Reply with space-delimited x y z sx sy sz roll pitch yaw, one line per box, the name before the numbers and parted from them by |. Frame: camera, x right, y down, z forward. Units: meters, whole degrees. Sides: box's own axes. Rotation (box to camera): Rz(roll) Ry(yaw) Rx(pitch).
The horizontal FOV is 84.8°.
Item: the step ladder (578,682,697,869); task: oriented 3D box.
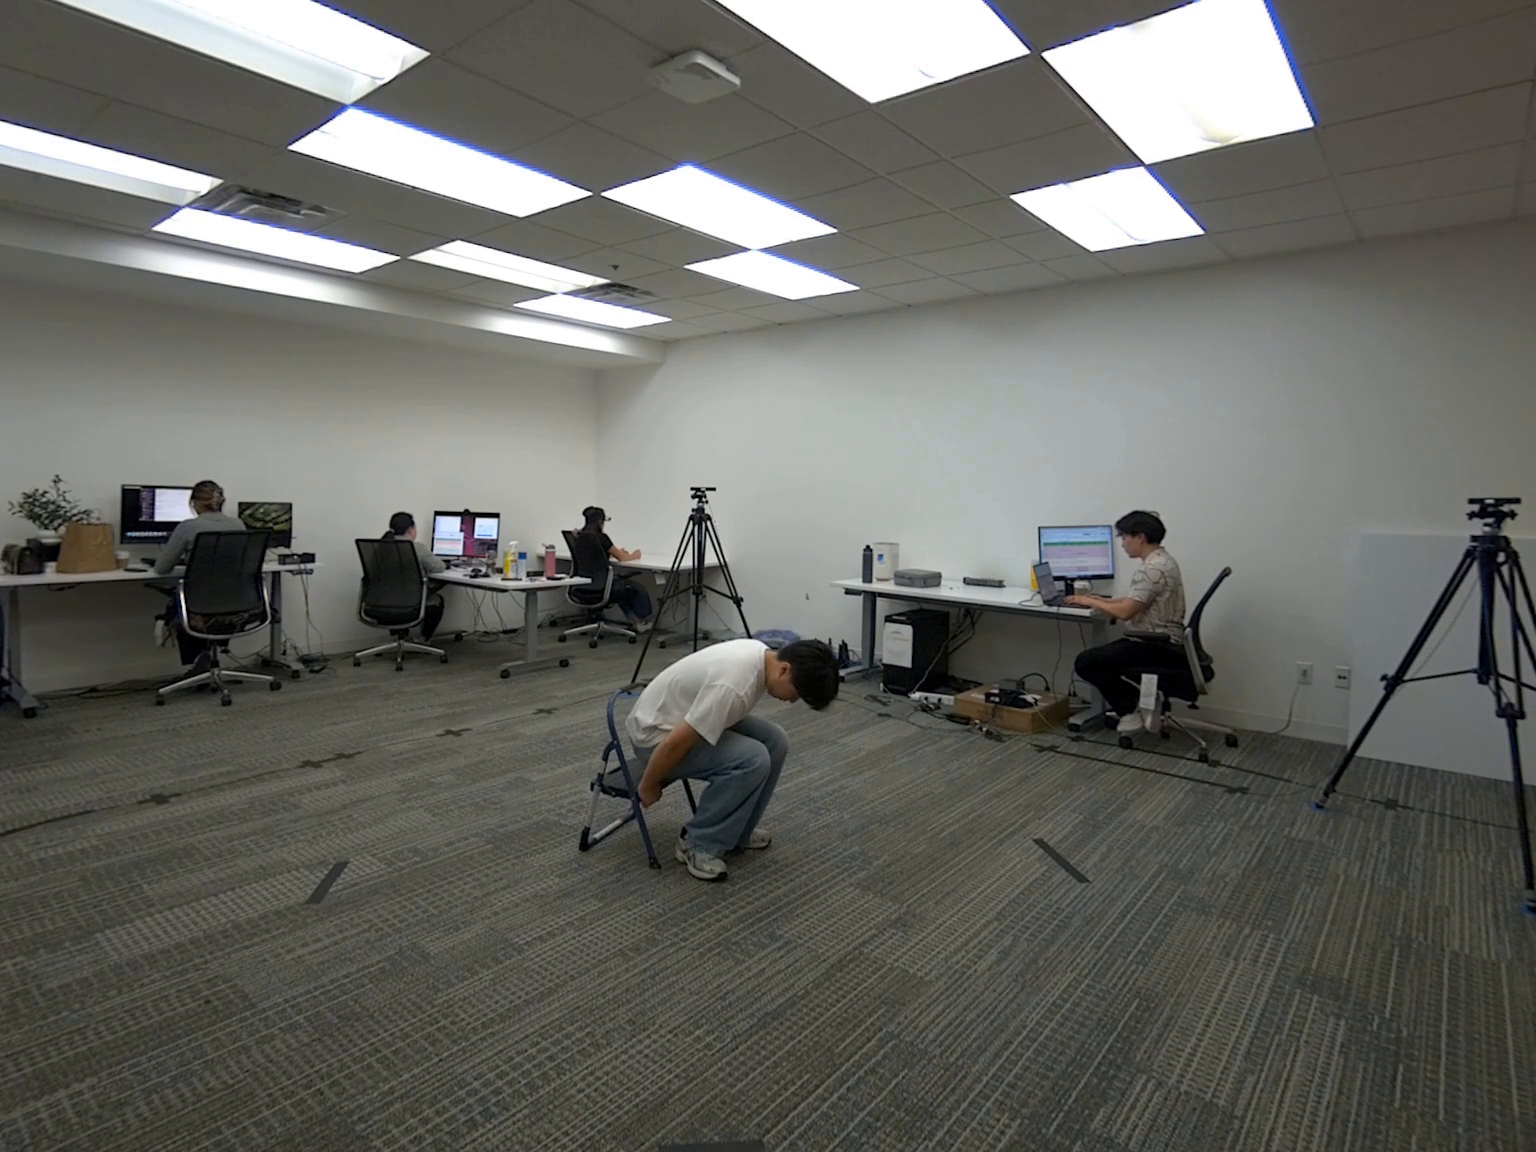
step ladder | -0.500 0.736 3.346 0.357 0.605 0.422 2 3 22
